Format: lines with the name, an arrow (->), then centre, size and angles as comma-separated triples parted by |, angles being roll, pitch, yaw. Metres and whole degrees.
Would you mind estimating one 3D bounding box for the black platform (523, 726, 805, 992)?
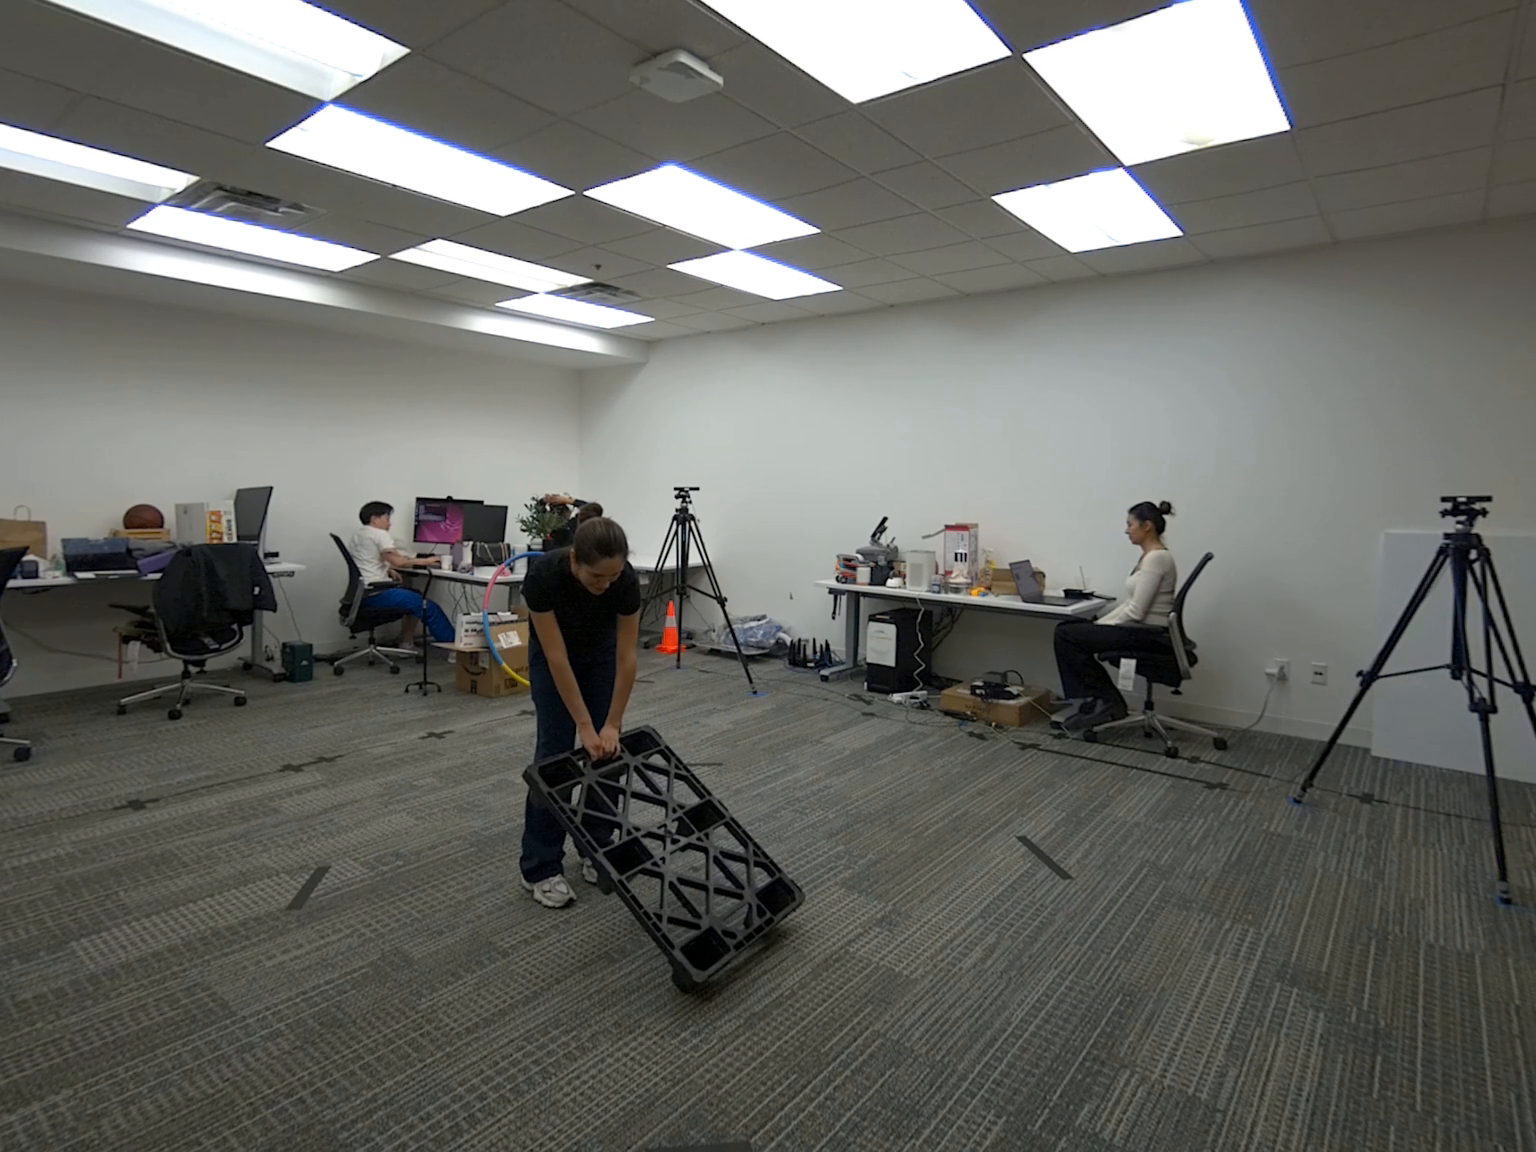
black platform -> -0.328, 0.844, 2.685 | 0.833, 0.142, 0.588 | 42, 24, 25
